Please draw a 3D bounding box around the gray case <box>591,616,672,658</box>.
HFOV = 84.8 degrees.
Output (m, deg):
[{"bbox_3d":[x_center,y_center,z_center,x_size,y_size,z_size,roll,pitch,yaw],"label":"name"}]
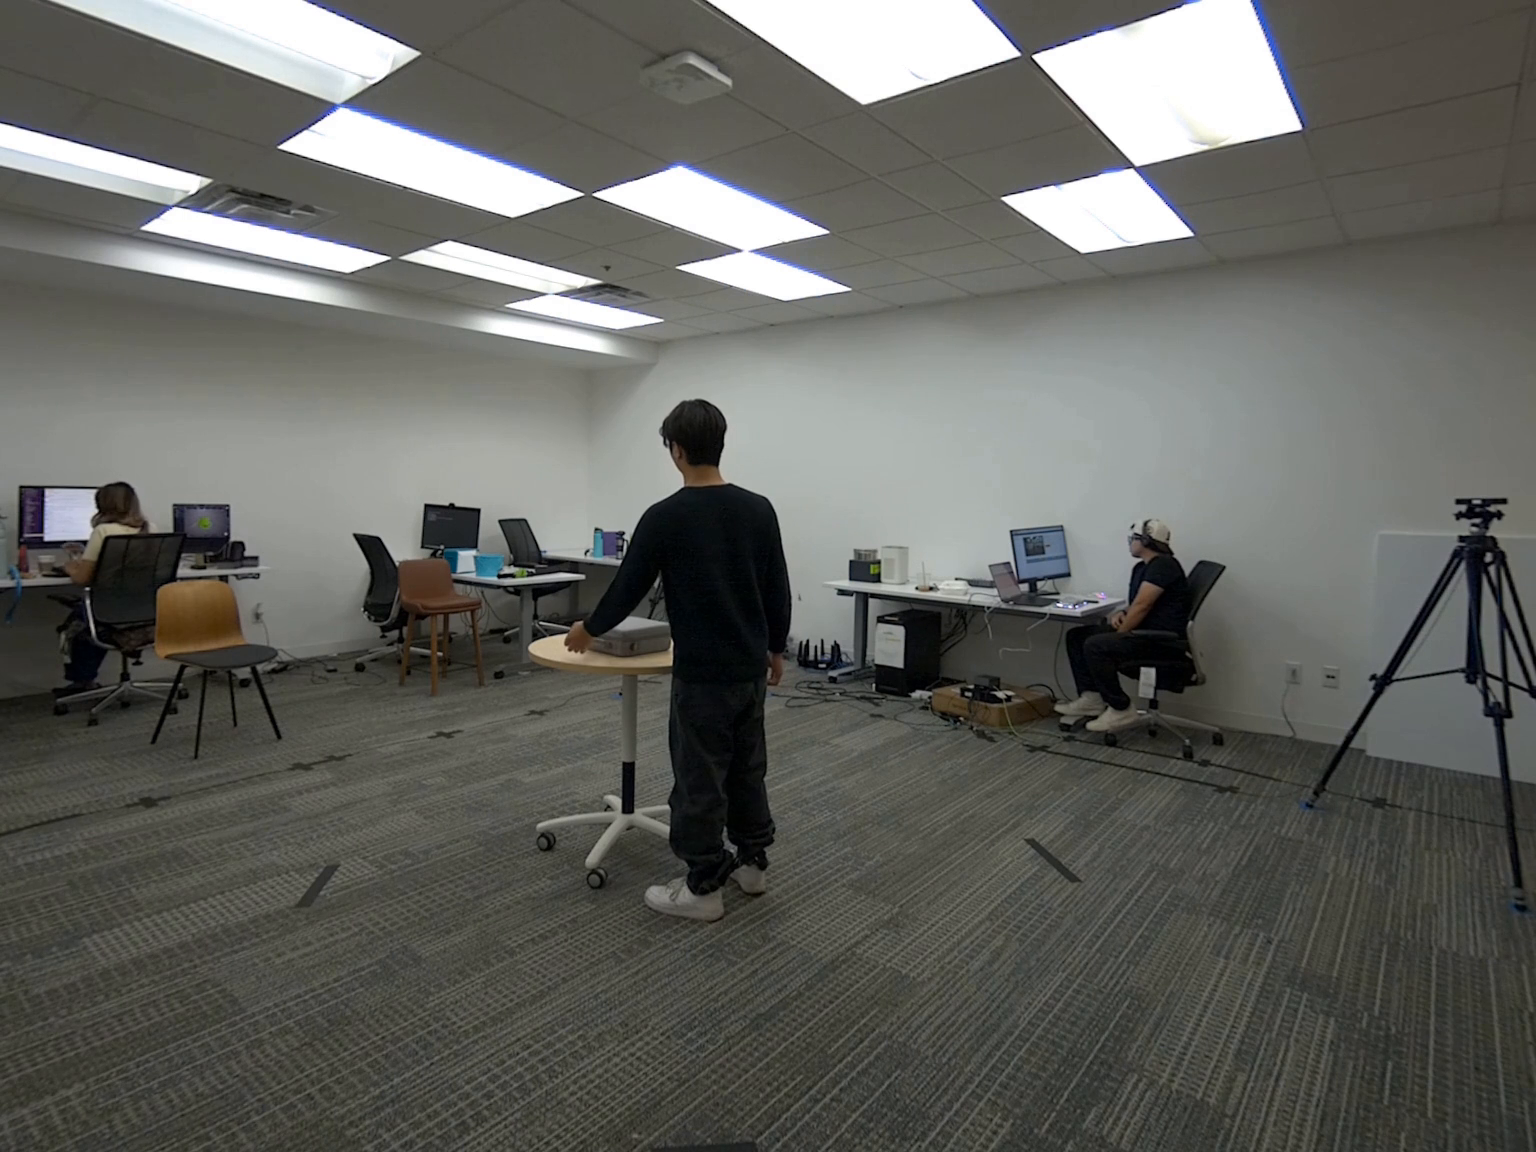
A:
[{"bbox_3d":[-0.533,0.220,3.176,0.266,0.104,0.253,6,8,43],"label":"gray case"}]
